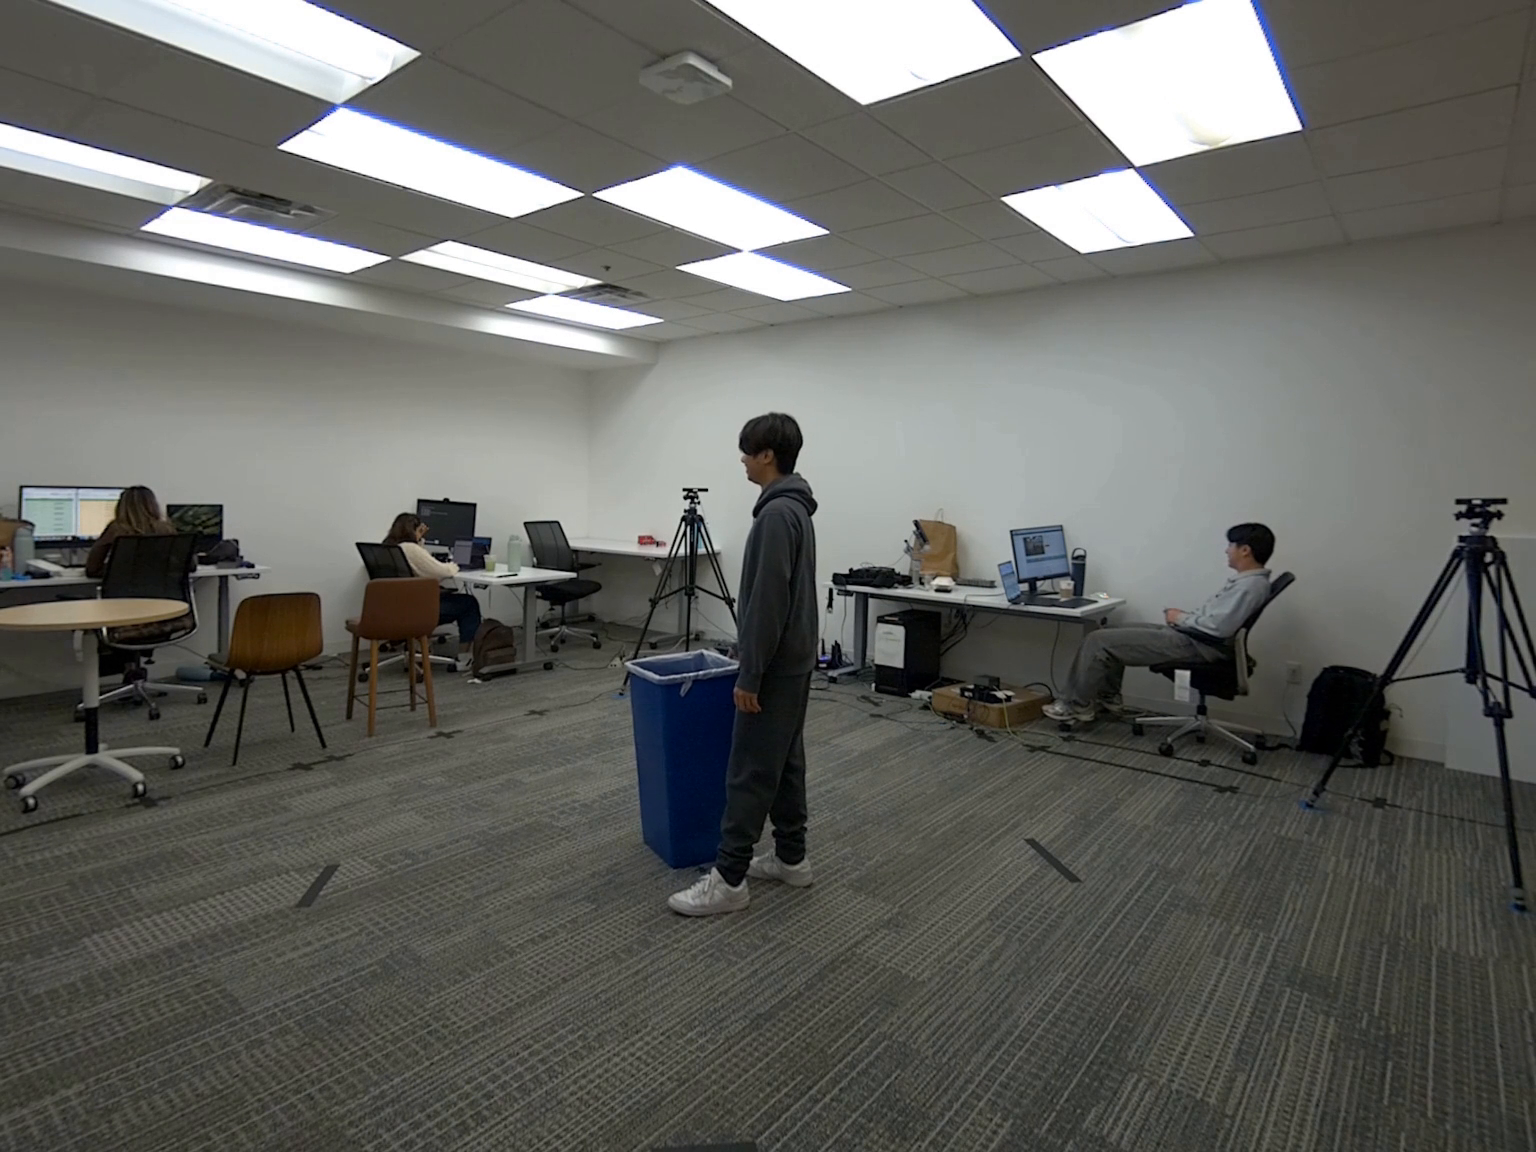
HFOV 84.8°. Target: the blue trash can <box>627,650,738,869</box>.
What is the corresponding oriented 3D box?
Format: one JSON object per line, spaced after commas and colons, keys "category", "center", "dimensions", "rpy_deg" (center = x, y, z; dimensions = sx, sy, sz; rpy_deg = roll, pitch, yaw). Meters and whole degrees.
{"category": "blue trash can", "center": [-0.322, 0.684, 3.279], "dimensions": [0.369, 0.710, 0.385], "rpy_deg": [-5, 5, -30]}
